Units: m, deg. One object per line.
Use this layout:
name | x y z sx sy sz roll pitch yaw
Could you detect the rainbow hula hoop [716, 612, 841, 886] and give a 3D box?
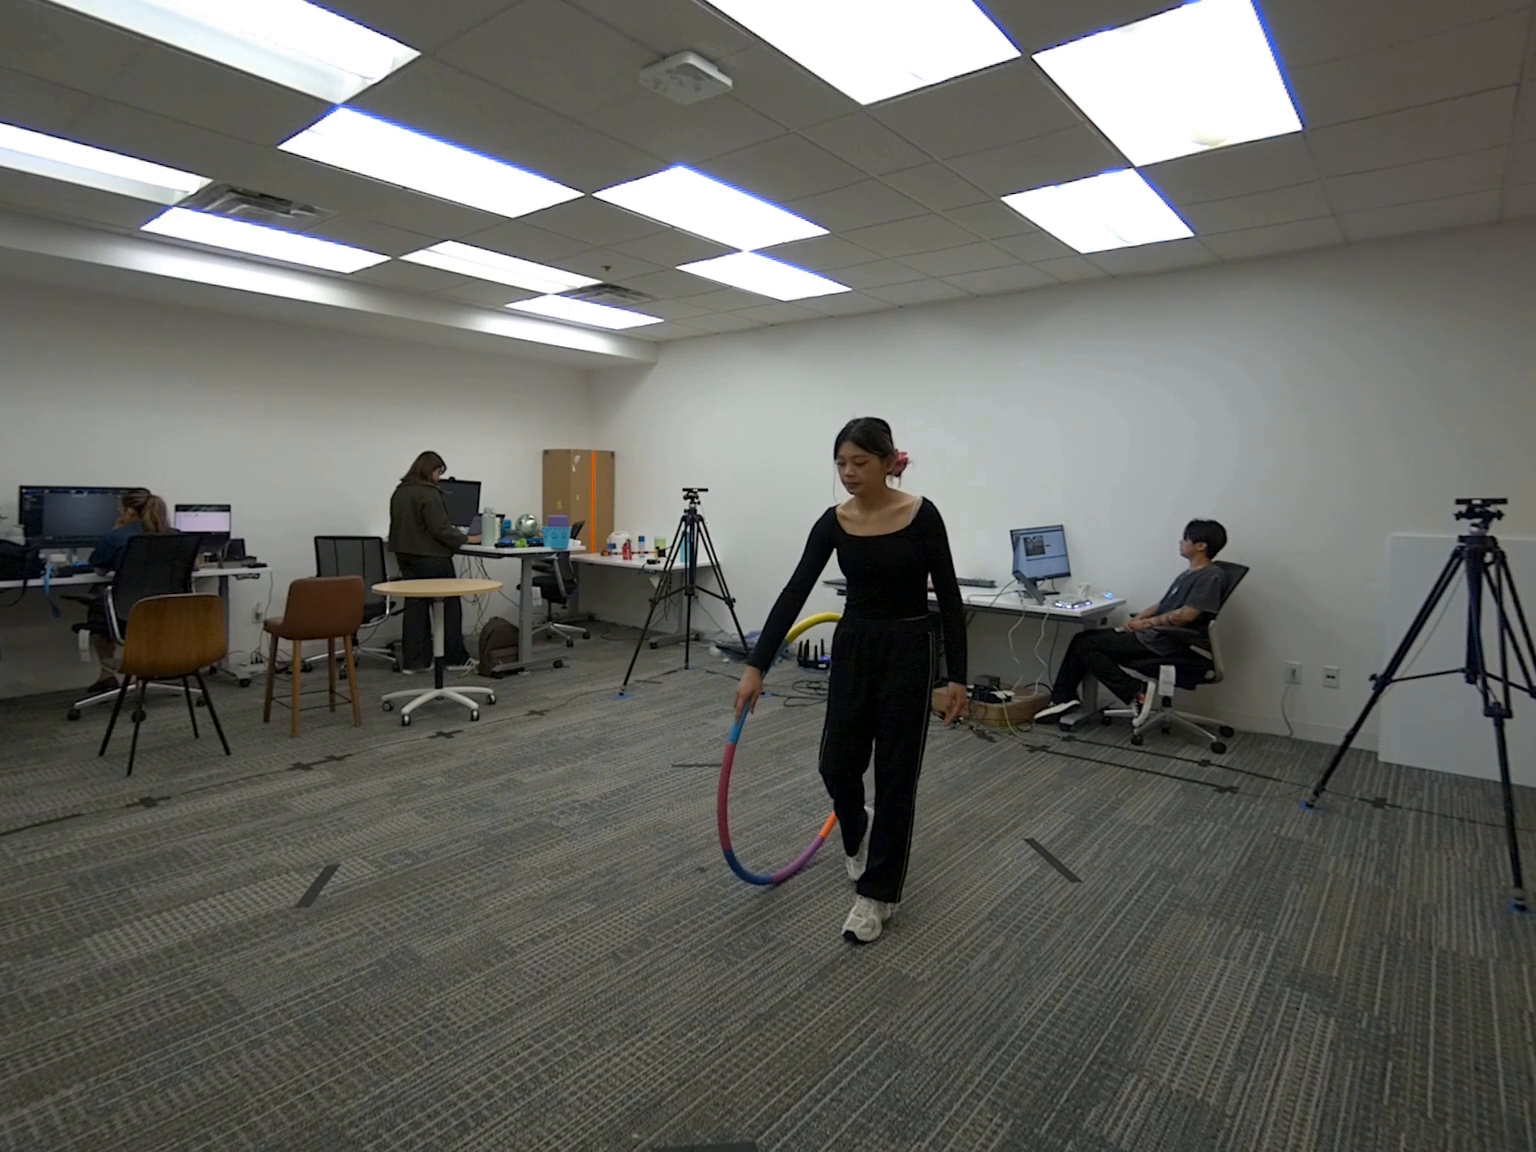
rainbow hula hoop | 0.121 0.607 3.008 0.037 0.973 0.951 11 9 33
